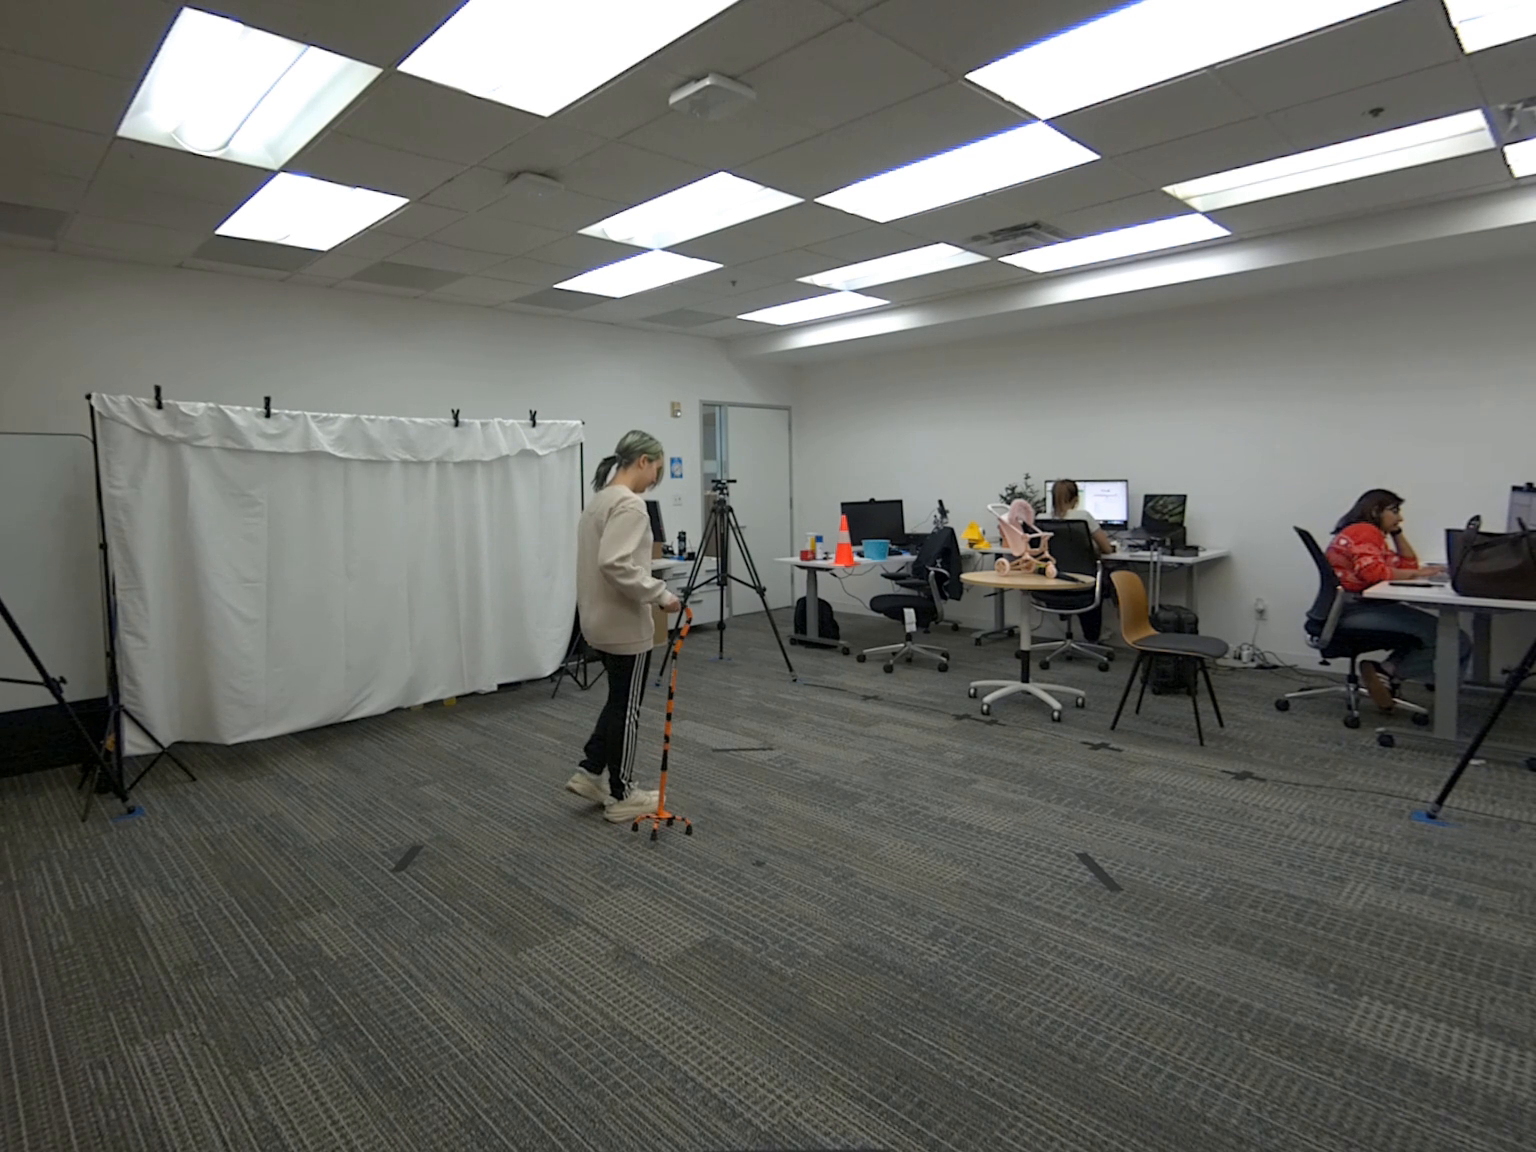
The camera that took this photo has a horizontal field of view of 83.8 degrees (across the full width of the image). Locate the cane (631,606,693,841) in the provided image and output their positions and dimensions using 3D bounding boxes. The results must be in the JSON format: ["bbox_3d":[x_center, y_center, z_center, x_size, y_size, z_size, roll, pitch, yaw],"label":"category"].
[{"bbox_3d":[-0.367,0.561,3.378,0.200,0.908,0.156,5,0,-44],"label":"cane"}]
